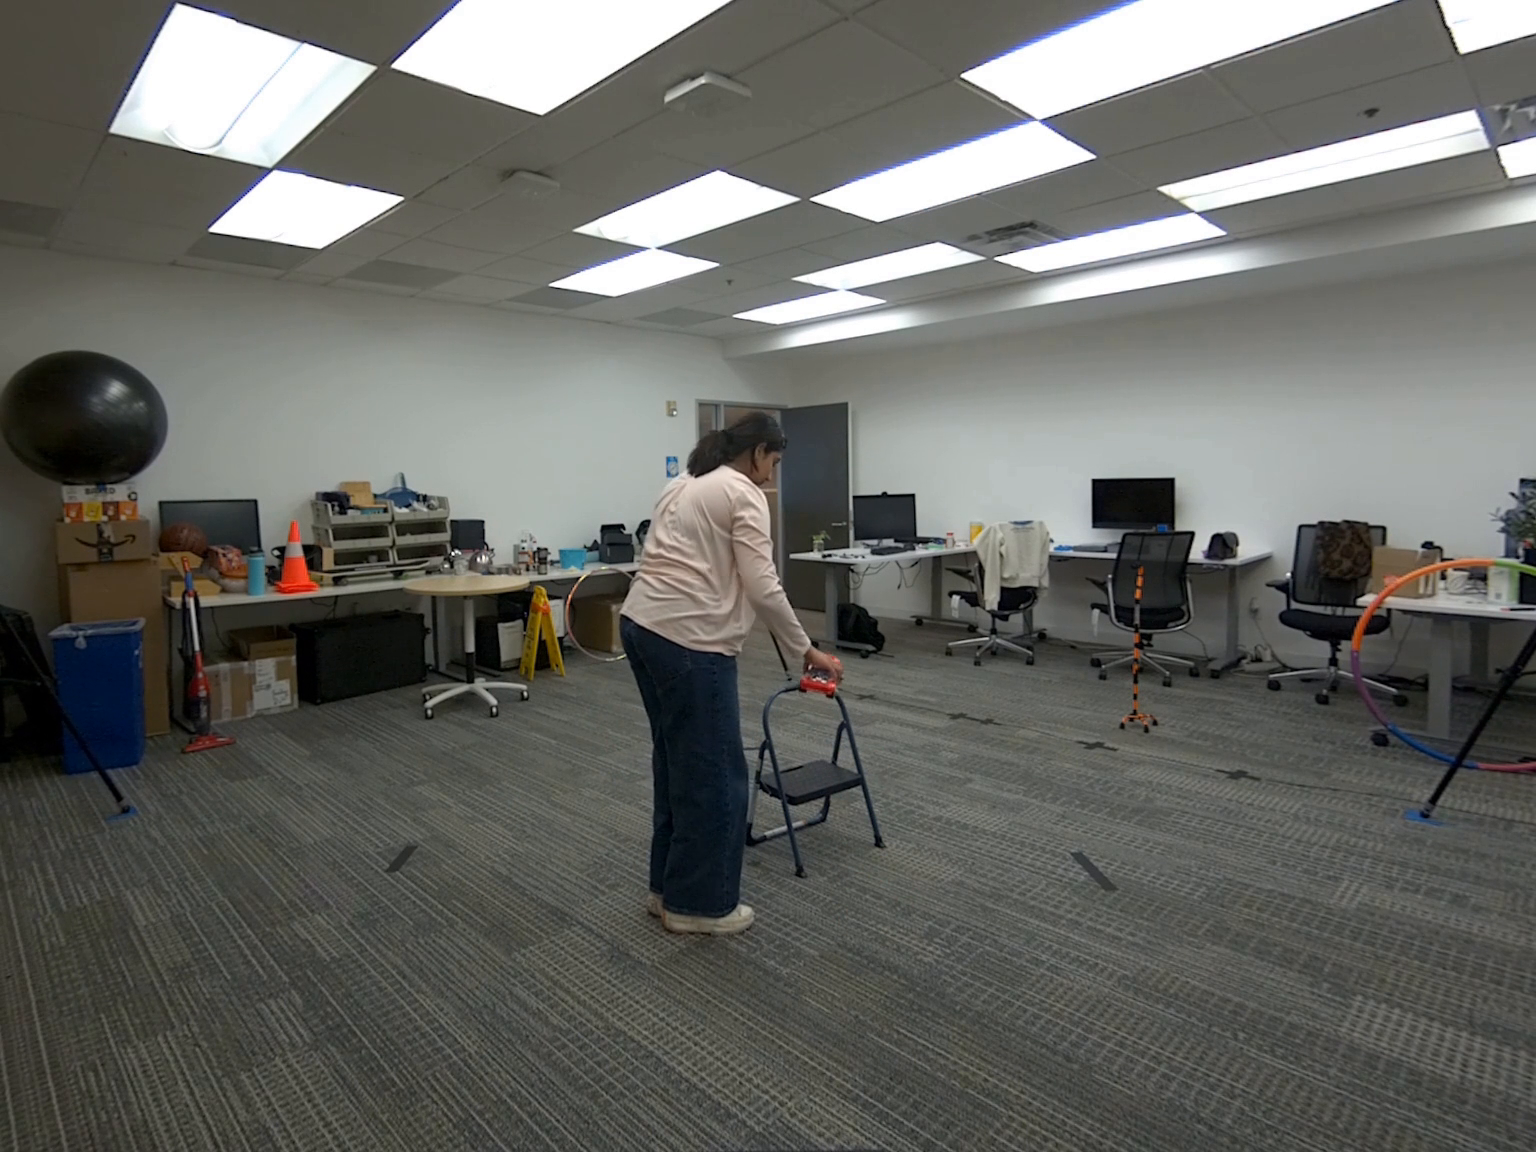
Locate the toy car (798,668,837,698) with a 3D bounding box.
[{"bbox_3d":[0.179,0.321,2.736,0.132,0.082,0.256,8,23,11],"label":"toy car"}]
